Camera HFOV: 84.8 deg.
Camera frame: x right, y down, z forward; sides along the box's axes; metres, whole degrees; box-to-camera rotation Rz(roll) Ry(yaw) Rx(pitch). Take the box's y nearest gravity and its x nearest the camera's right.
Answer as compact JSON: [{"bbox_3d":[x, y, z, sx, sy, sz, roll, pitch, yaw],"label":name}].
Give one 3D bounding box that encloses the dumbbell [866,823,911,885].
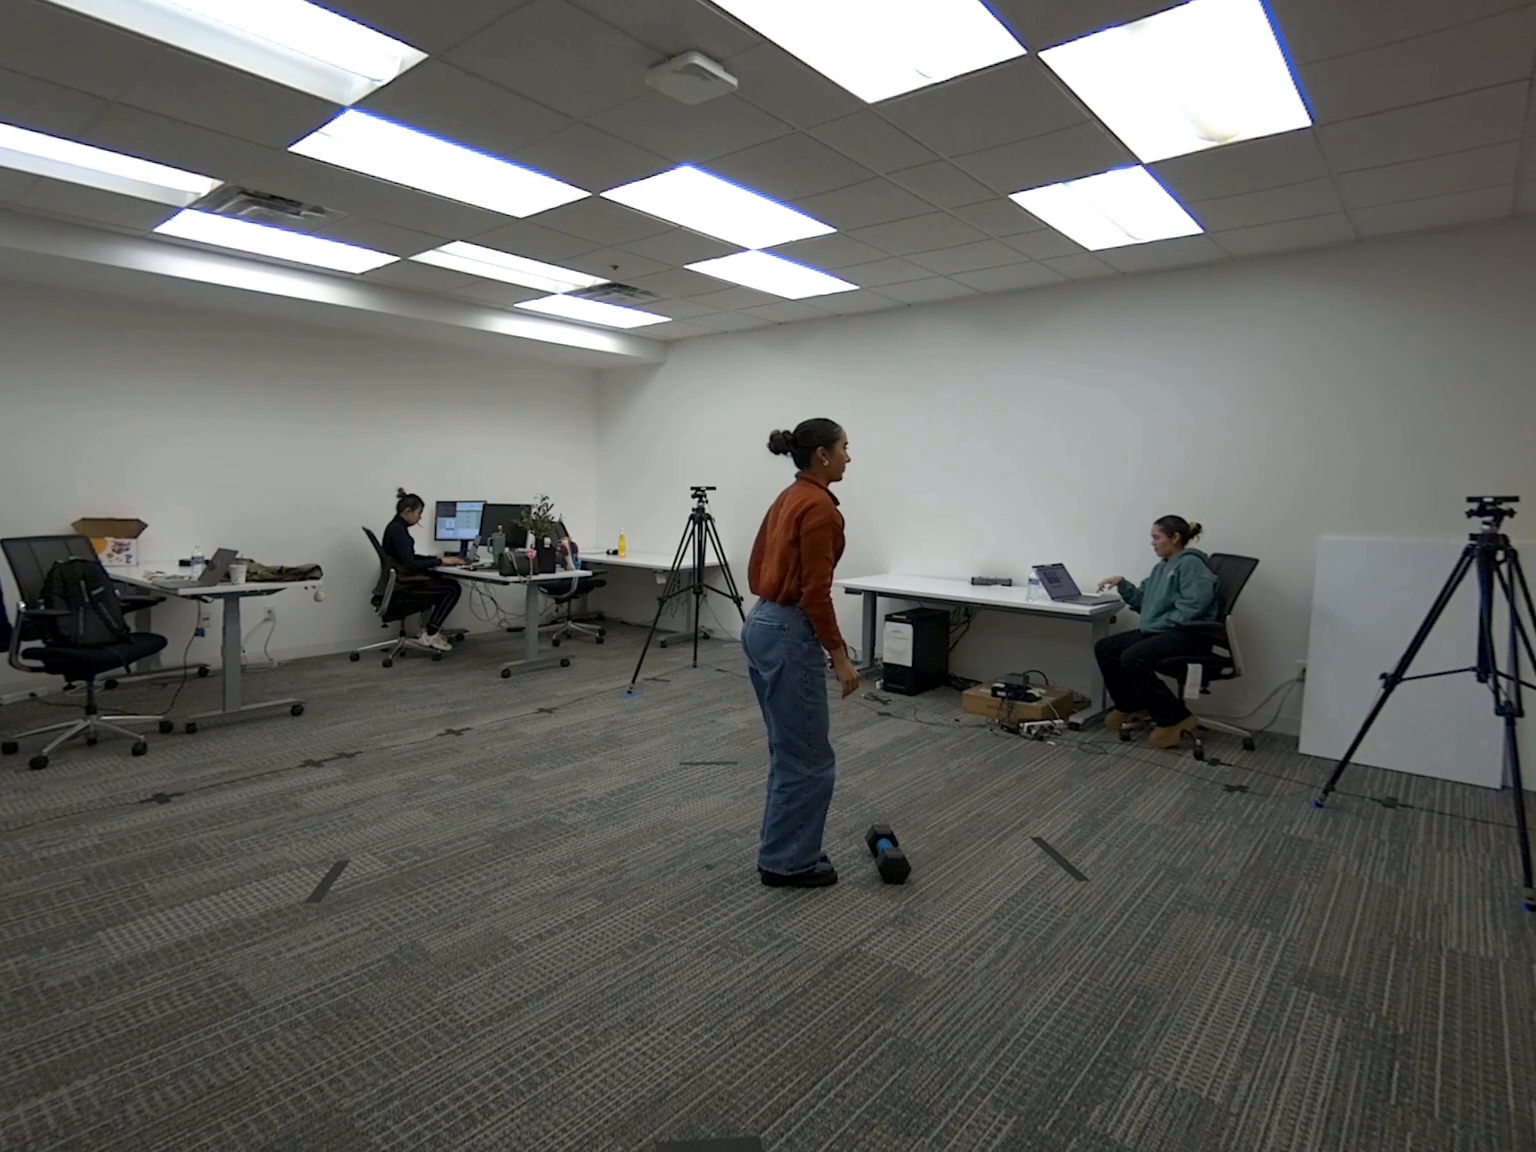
[{"bbox_3d":[0.432,1.025,3.144,0.109,0.122,0.295,-30,7,0],"label":"dumbbell"}]
